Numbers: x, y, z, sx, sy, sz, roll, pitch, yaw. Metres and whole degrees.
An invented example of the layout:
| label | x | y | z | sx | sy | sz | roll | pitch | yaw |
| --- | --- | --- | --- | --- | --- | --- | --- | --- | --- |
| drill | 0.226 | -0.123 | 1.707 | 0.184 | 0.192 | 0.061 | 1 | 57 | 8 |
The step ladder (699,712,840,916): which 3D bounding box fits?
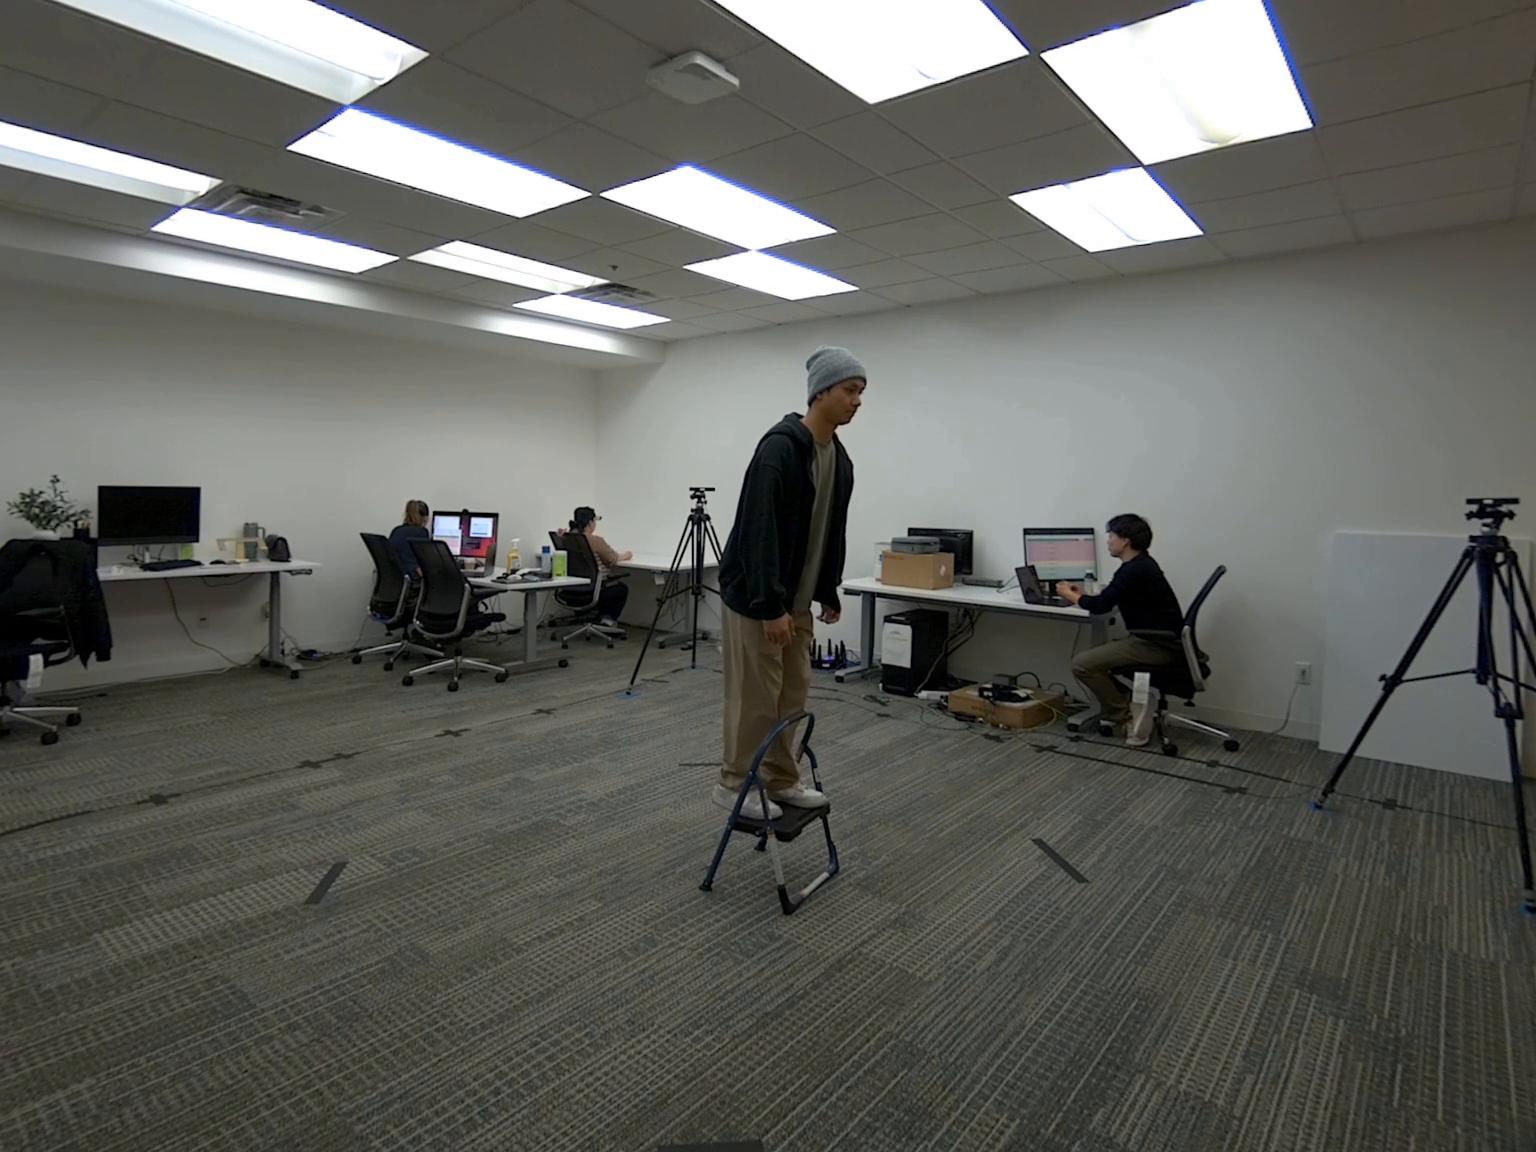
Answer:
| label | x | y | z | sx | sy | sz | roll | pitch | yaw |
| --- | --- | --- | --- | --- | --- | --- | --- | --- | --- |
| step ladder | 0.016 | 0.779 | 3.015 | 0.359 | 0.604 | 0.420 | 4 | 4 | 29 |
